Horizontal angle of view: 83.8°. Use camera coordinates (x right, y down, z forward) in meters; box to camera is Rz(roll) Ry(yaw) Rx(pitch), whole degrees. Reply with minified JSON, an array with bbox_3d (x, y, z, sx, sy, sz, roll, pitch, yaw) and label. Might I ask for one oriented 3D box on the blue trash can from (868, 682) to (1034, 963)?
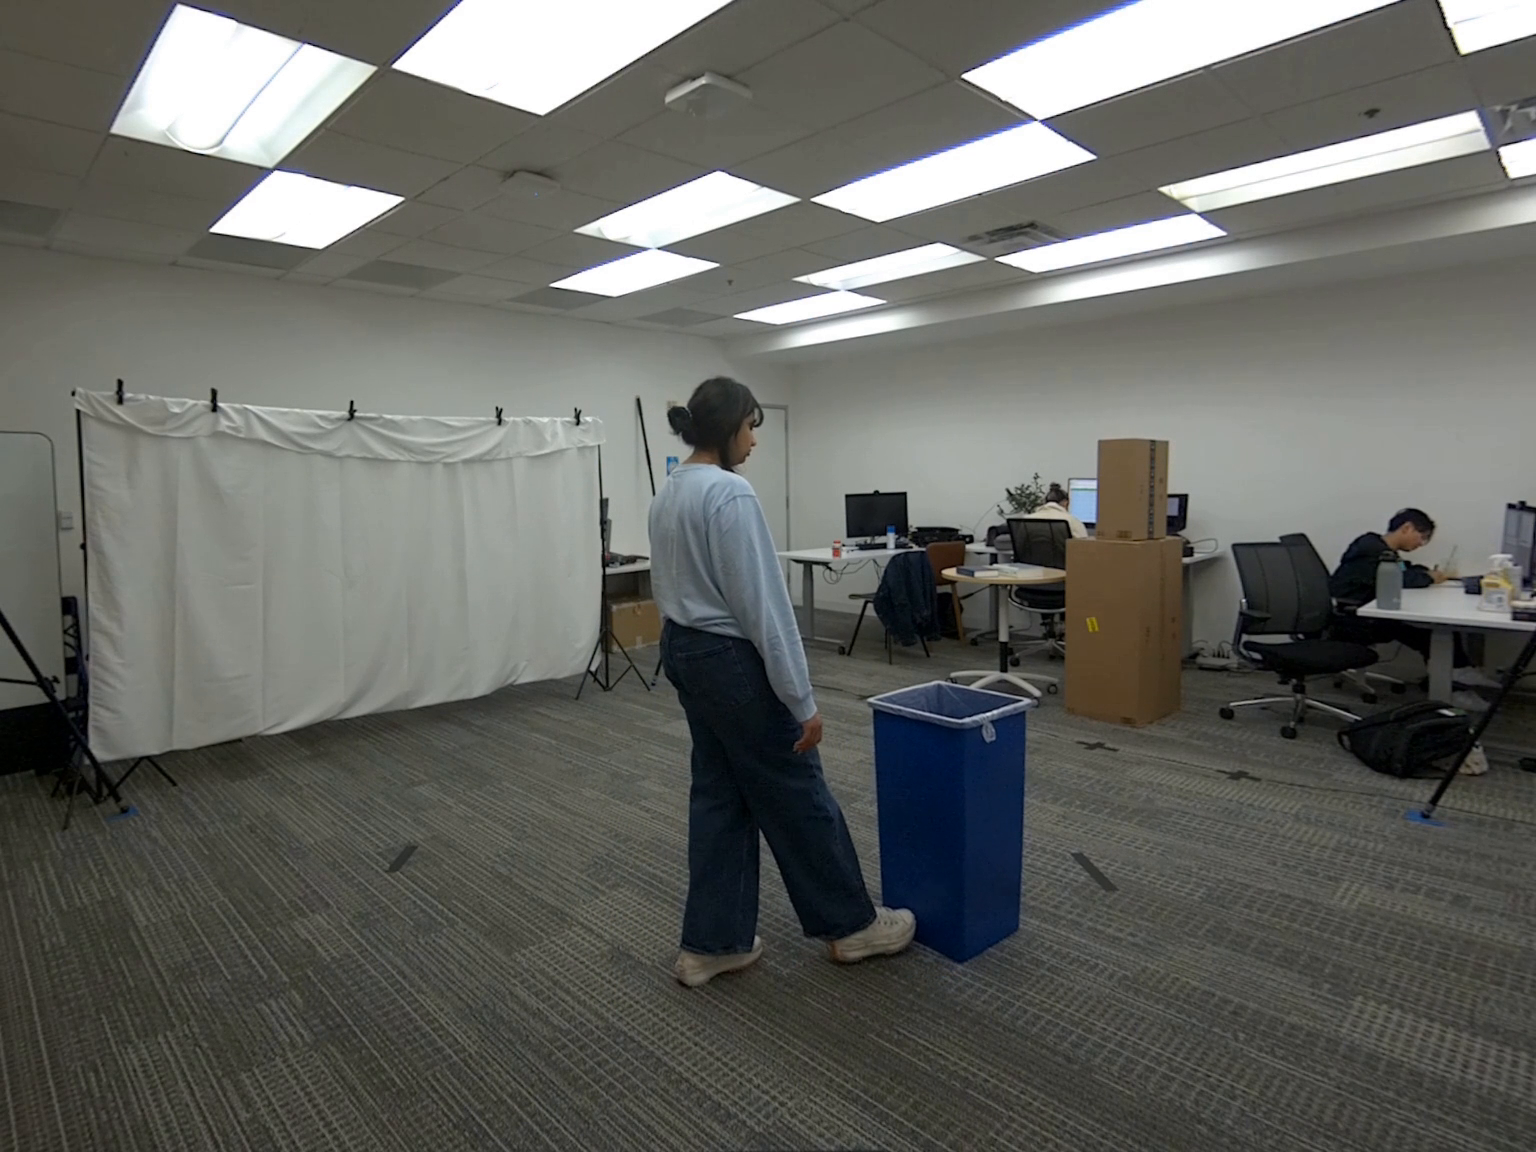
[{"bbox_3d":[0.563,0.731,2.640,0.364,0.711,0.389,-5,5,-41],"label":"blue trash can"}]
